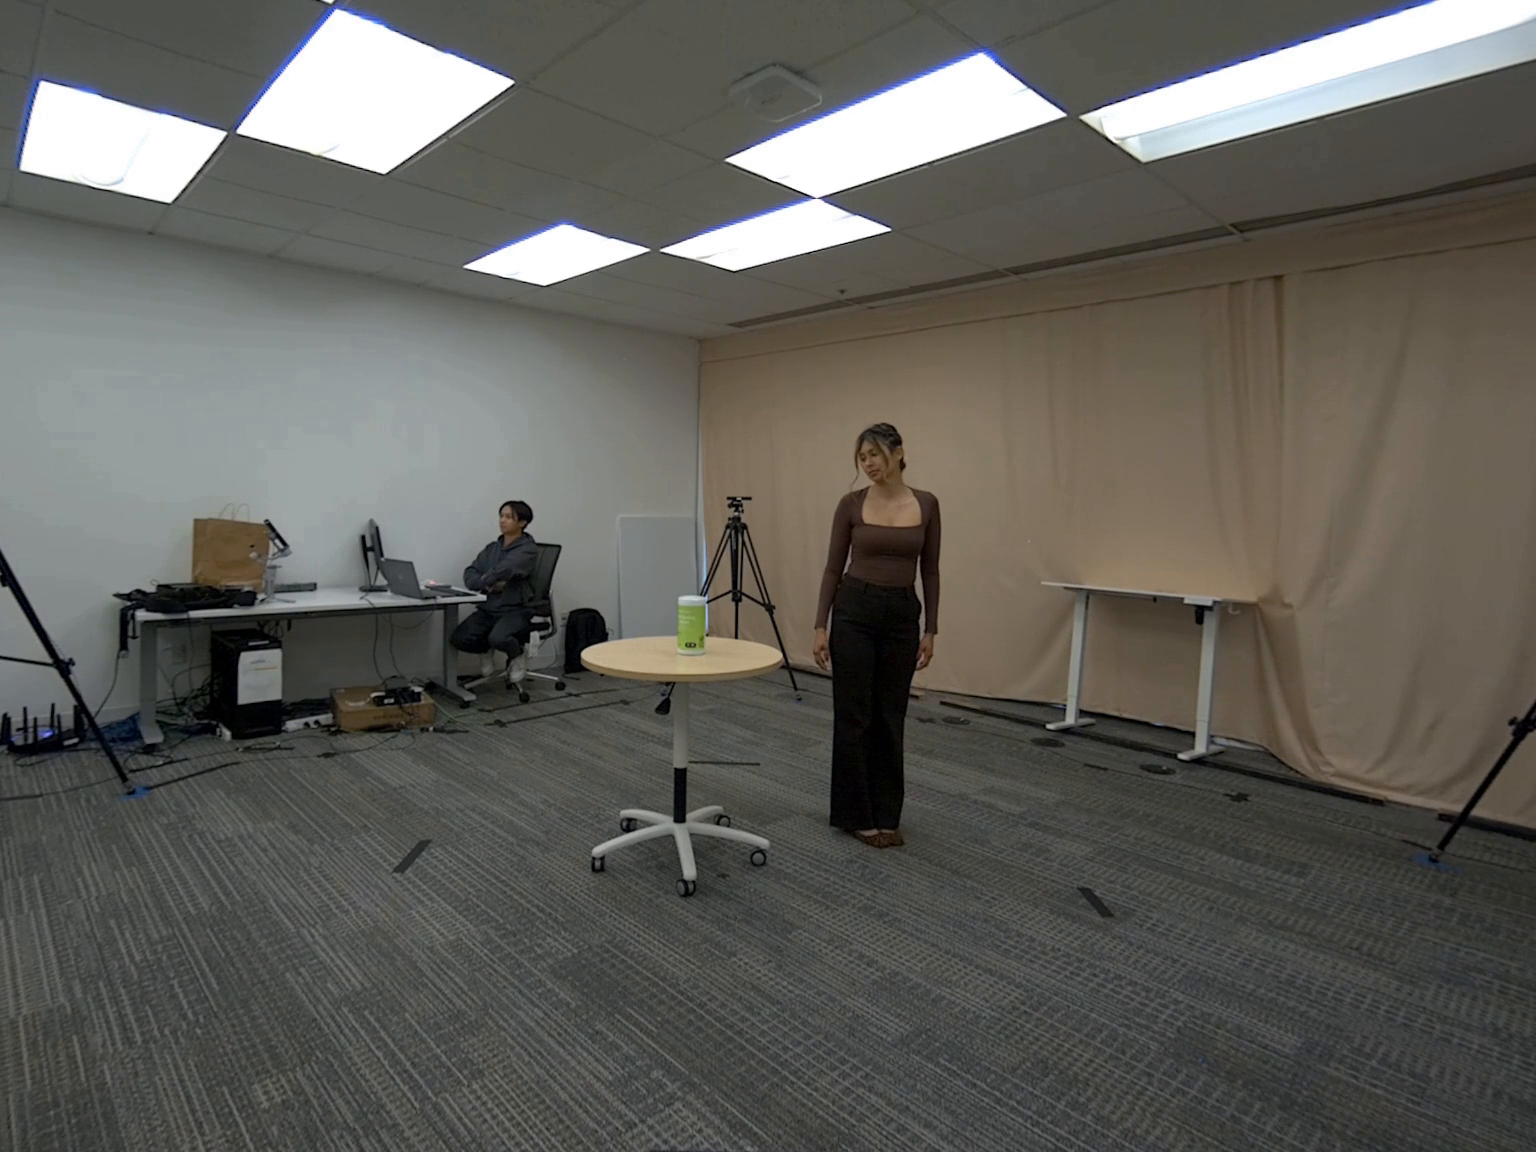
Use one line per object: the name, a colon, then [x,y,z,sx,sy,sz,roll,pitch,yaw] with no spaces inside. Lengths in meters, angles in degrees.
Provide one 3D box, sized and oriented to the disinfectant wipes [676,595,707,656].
disinfectant wipes: [-0.298,0.189,3.214,0.118,0.217,0.118,2,5,-2]
